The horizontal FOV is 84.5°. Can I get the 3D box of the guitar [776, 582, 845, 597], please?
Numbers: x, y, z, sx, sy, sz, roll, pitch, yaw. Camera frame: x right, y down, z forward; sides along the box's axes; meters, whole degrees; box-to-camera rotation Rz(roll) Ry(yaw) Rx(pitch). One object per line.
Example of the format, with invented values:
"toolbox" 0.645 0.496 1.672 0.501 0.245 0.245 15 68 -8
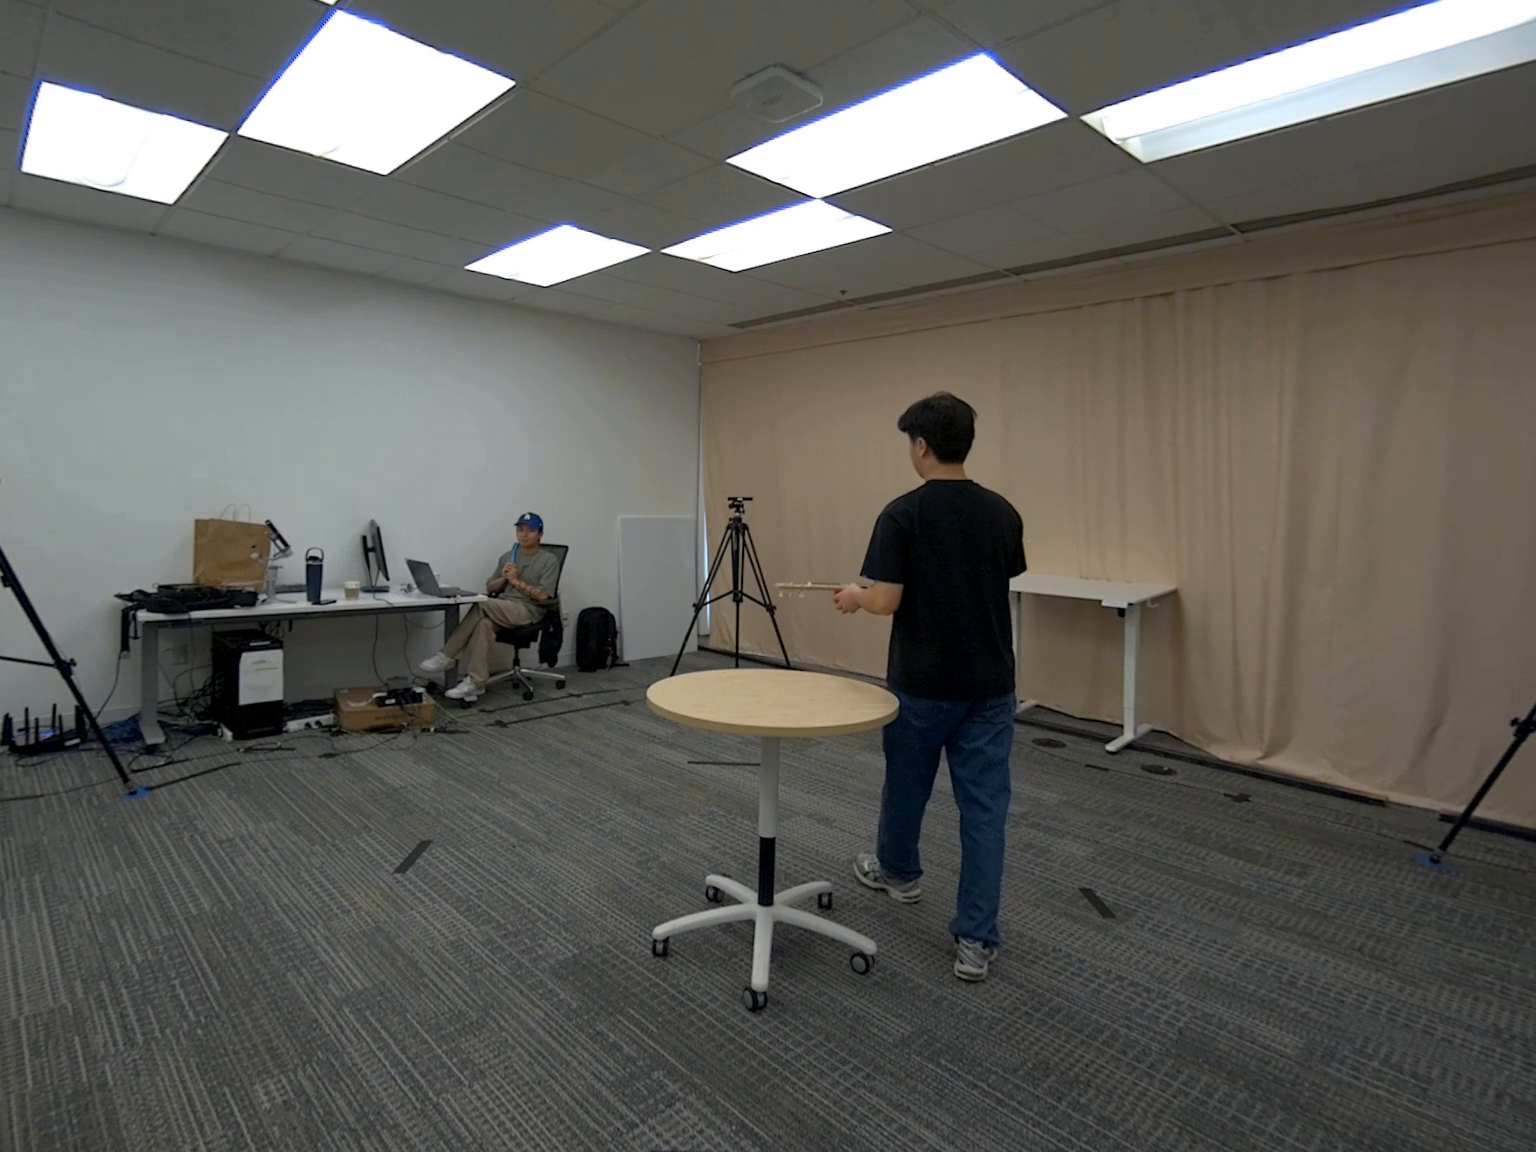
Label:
"guitar" 0.258 0.066 3.008 0.500 0.070 0.193 2 12 5
